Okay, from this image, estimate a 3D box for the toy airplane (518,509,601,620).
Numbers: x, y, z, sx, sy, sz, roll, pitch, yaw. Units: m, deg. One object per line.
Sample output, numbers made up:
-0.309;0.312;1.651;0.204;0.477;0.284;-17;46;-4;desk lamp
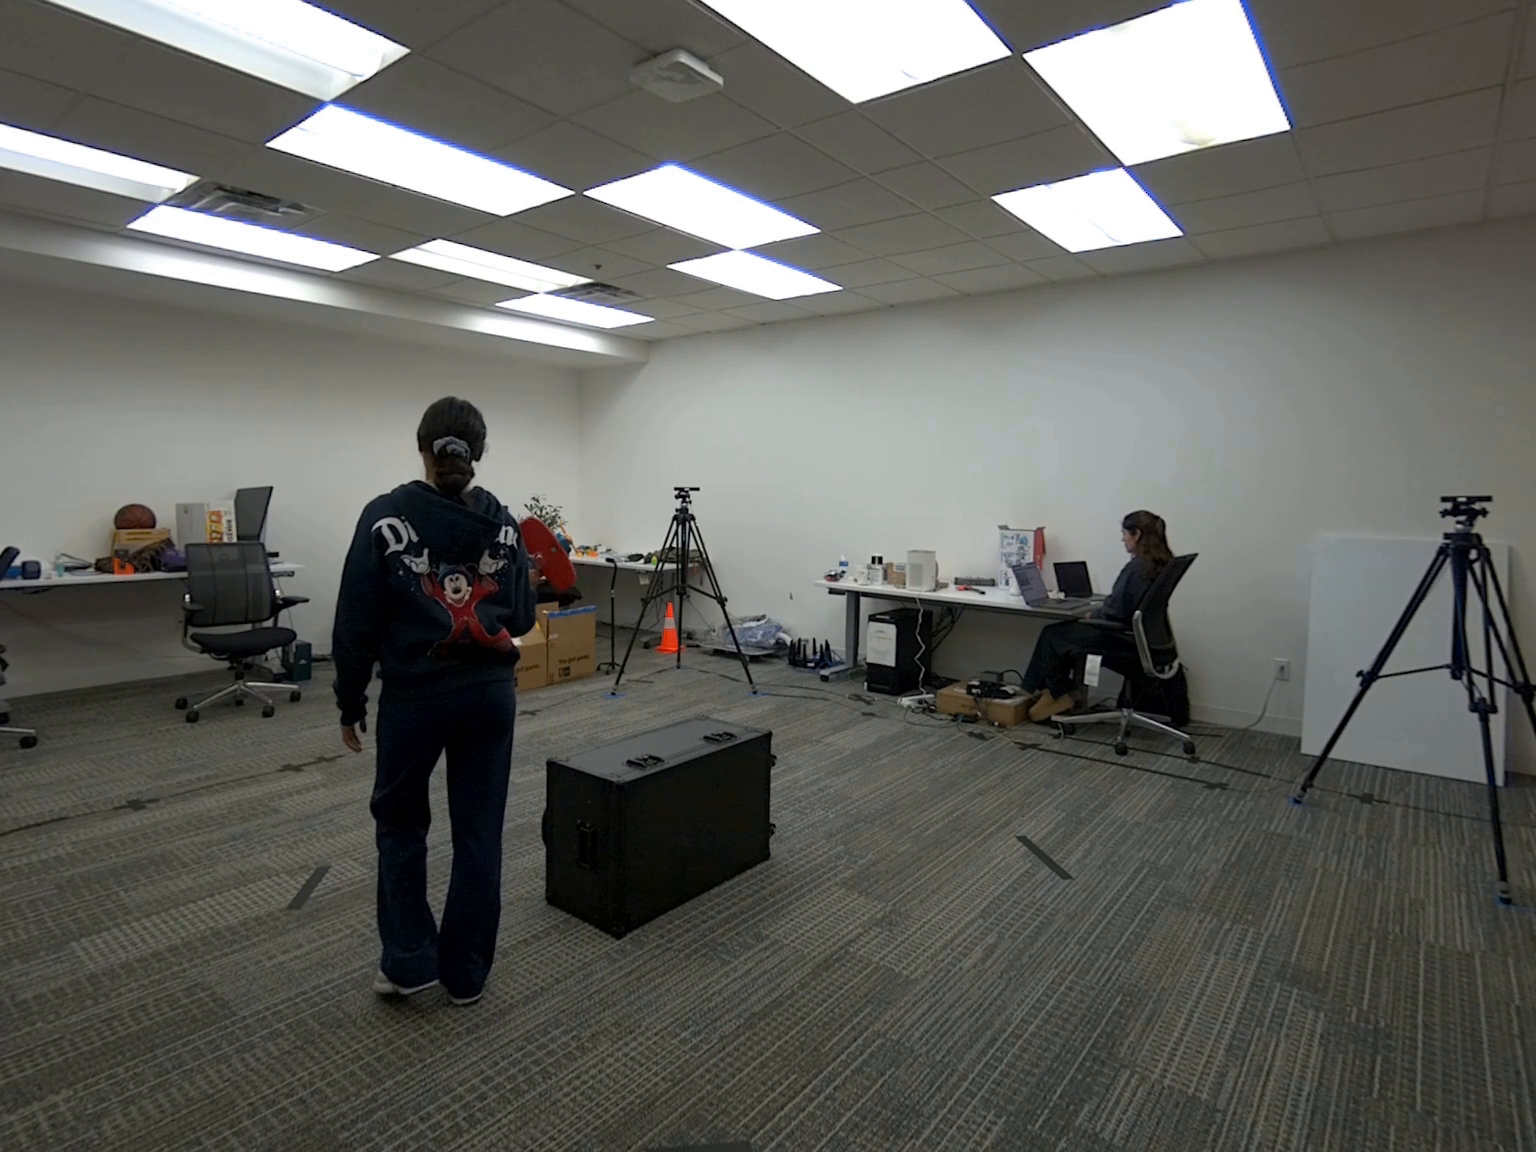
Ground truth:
-0.733;-0.035;2.730;0.245;0.261;0.159;31;-16;-20;toy airplane
